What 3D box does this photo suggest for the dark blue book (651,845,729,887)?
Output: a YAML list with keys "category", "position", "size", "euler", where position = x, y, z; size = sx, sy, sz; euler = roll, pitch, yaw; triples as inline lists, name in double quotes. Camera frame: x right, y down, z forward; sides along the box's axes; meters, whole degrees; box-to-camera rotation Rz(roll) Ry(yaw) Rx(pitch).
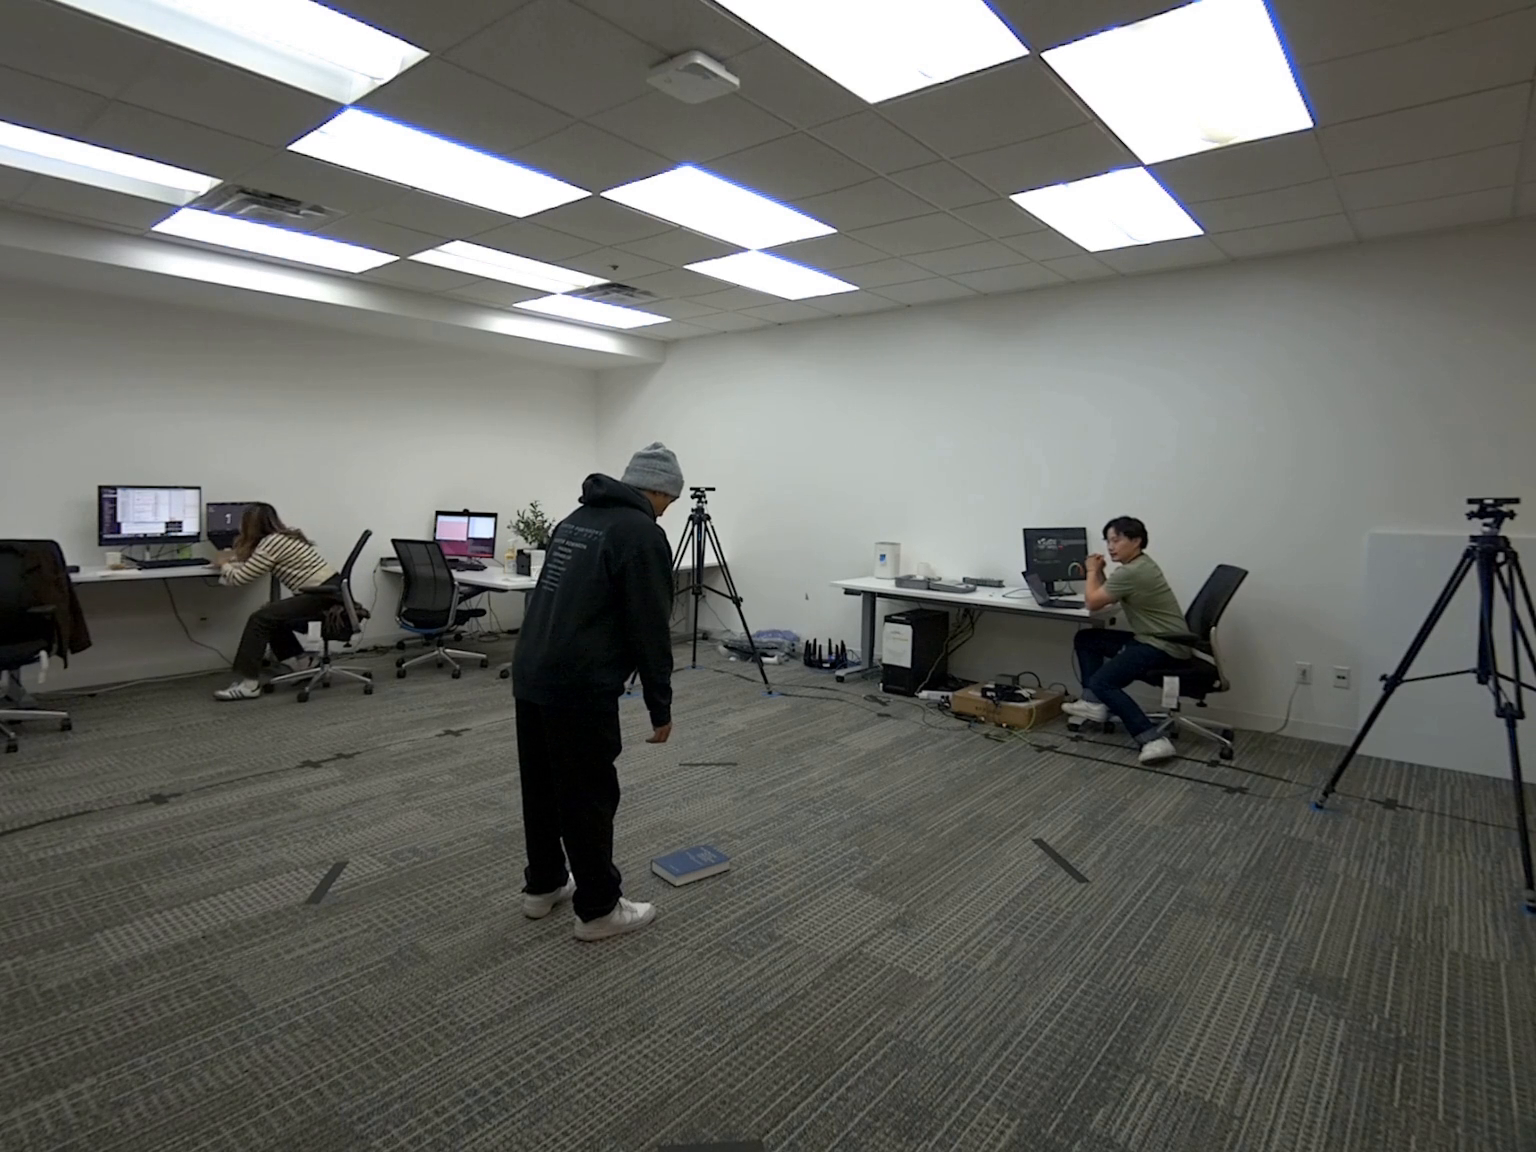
- category: "dark blue book"
  position: [-0.288, 1.042, 3.082]
  size: [0.238, 0.045, 0.169]
  euler: [-3, 7, -39]
